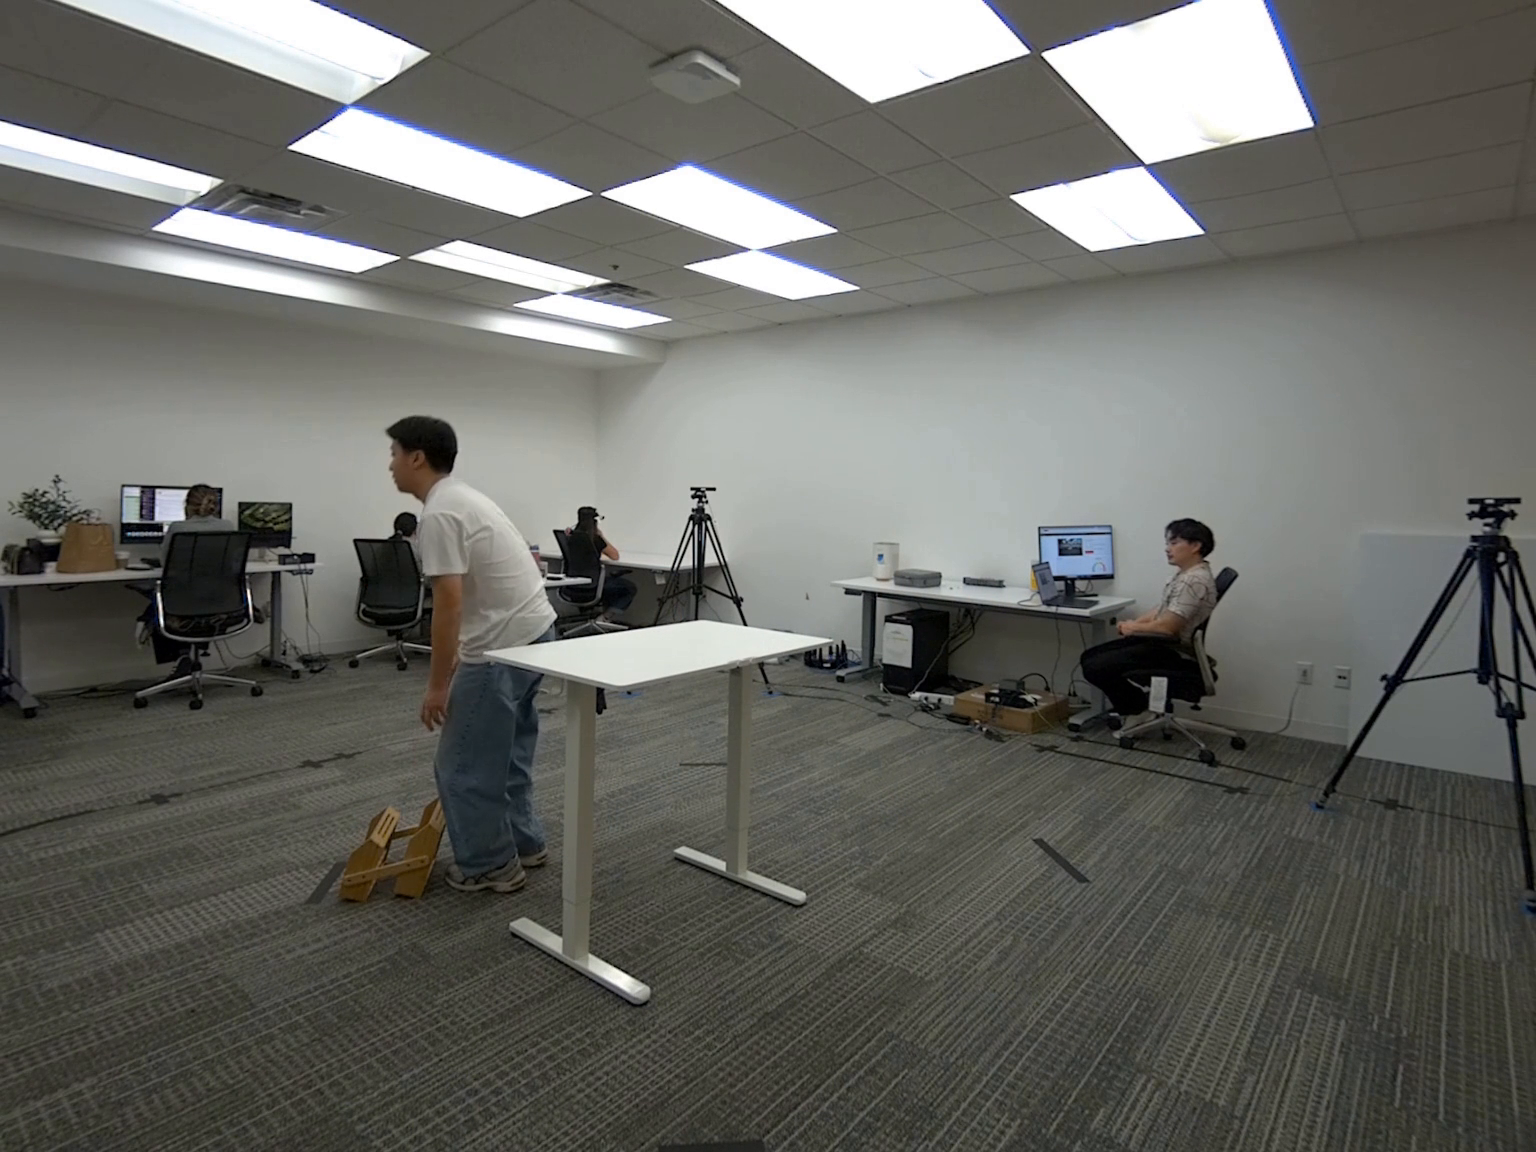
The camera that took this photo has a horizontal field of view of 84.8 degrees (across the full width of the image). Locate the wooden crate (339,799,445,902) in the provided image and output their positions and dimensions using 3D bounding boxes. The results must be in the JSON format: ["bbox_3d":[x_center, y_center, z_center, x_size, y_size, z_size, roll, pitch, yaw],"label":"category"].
[{"bbox_3d":[-1.314,0.935,2.975,0.269,0.302,0.329,17,1,-12],"label":"wooden crate"}]
